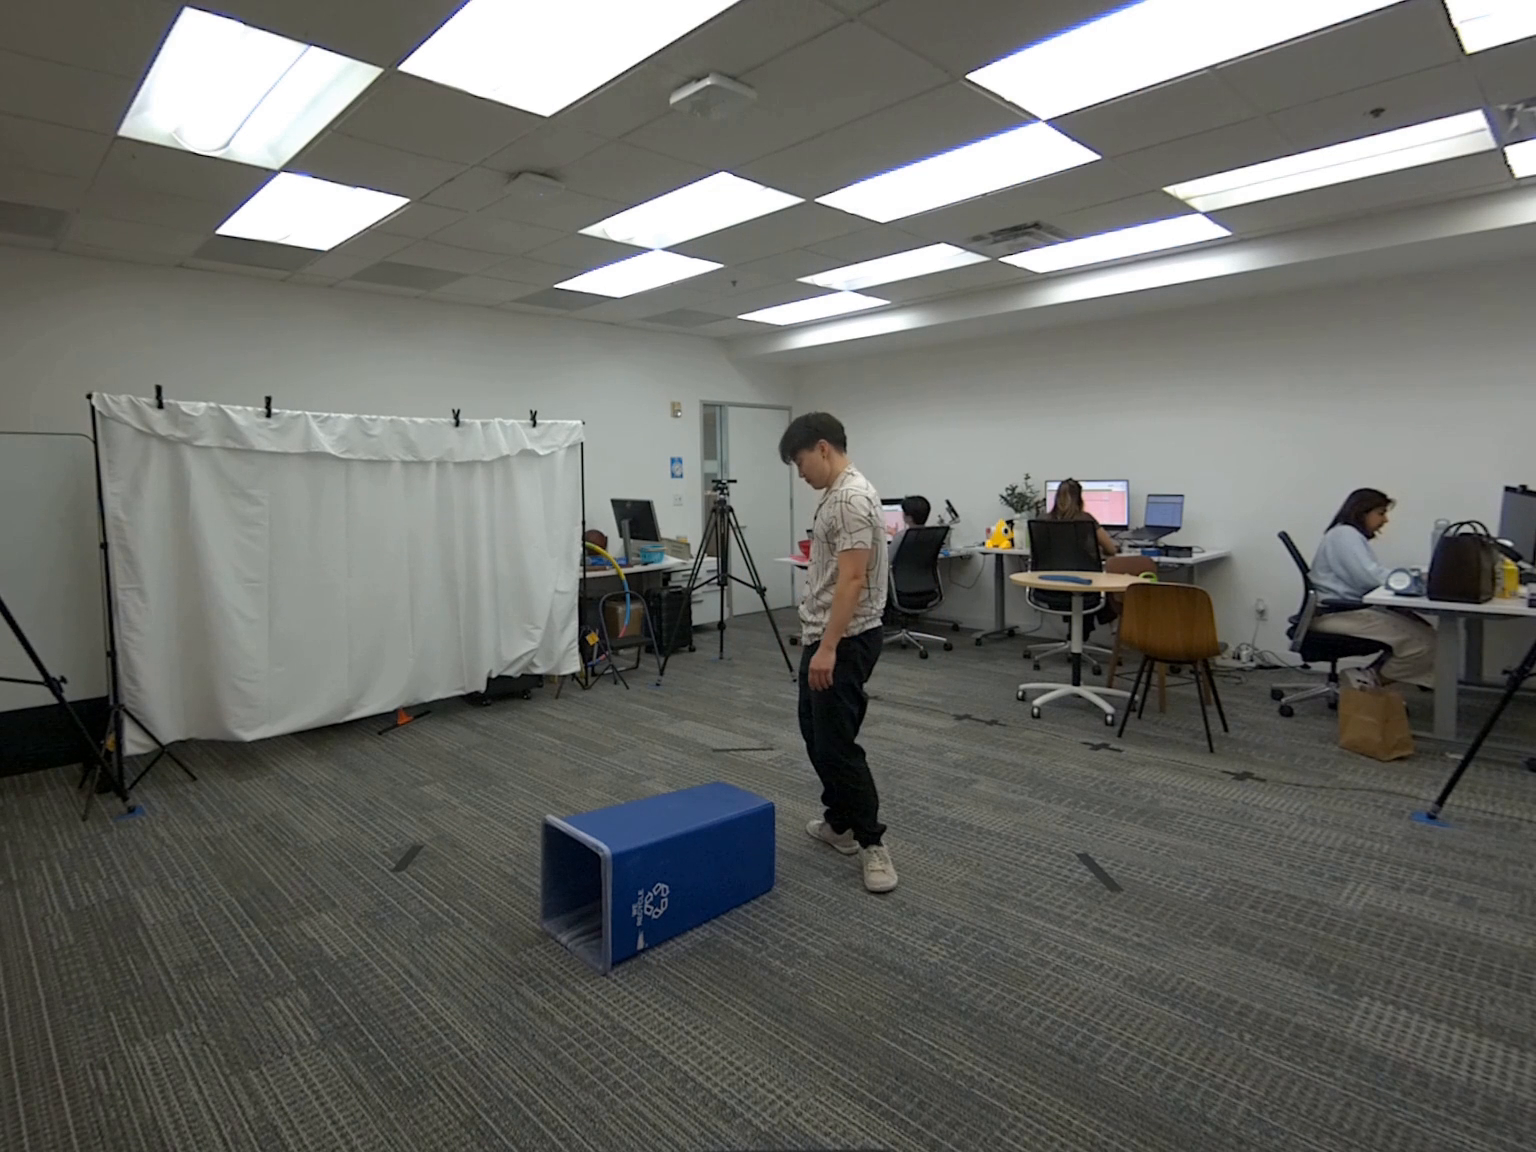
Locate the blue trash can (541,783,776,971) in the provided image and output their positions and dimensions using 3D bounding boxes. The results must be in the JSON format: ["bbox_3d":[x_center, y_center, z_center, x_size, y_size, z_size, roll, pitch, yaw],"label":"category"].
[{"bbox_3d":[-0.324,0.917,2.776,0.694,0.377,0.385,-4,6,-42],"label":"blue trash can"}]
